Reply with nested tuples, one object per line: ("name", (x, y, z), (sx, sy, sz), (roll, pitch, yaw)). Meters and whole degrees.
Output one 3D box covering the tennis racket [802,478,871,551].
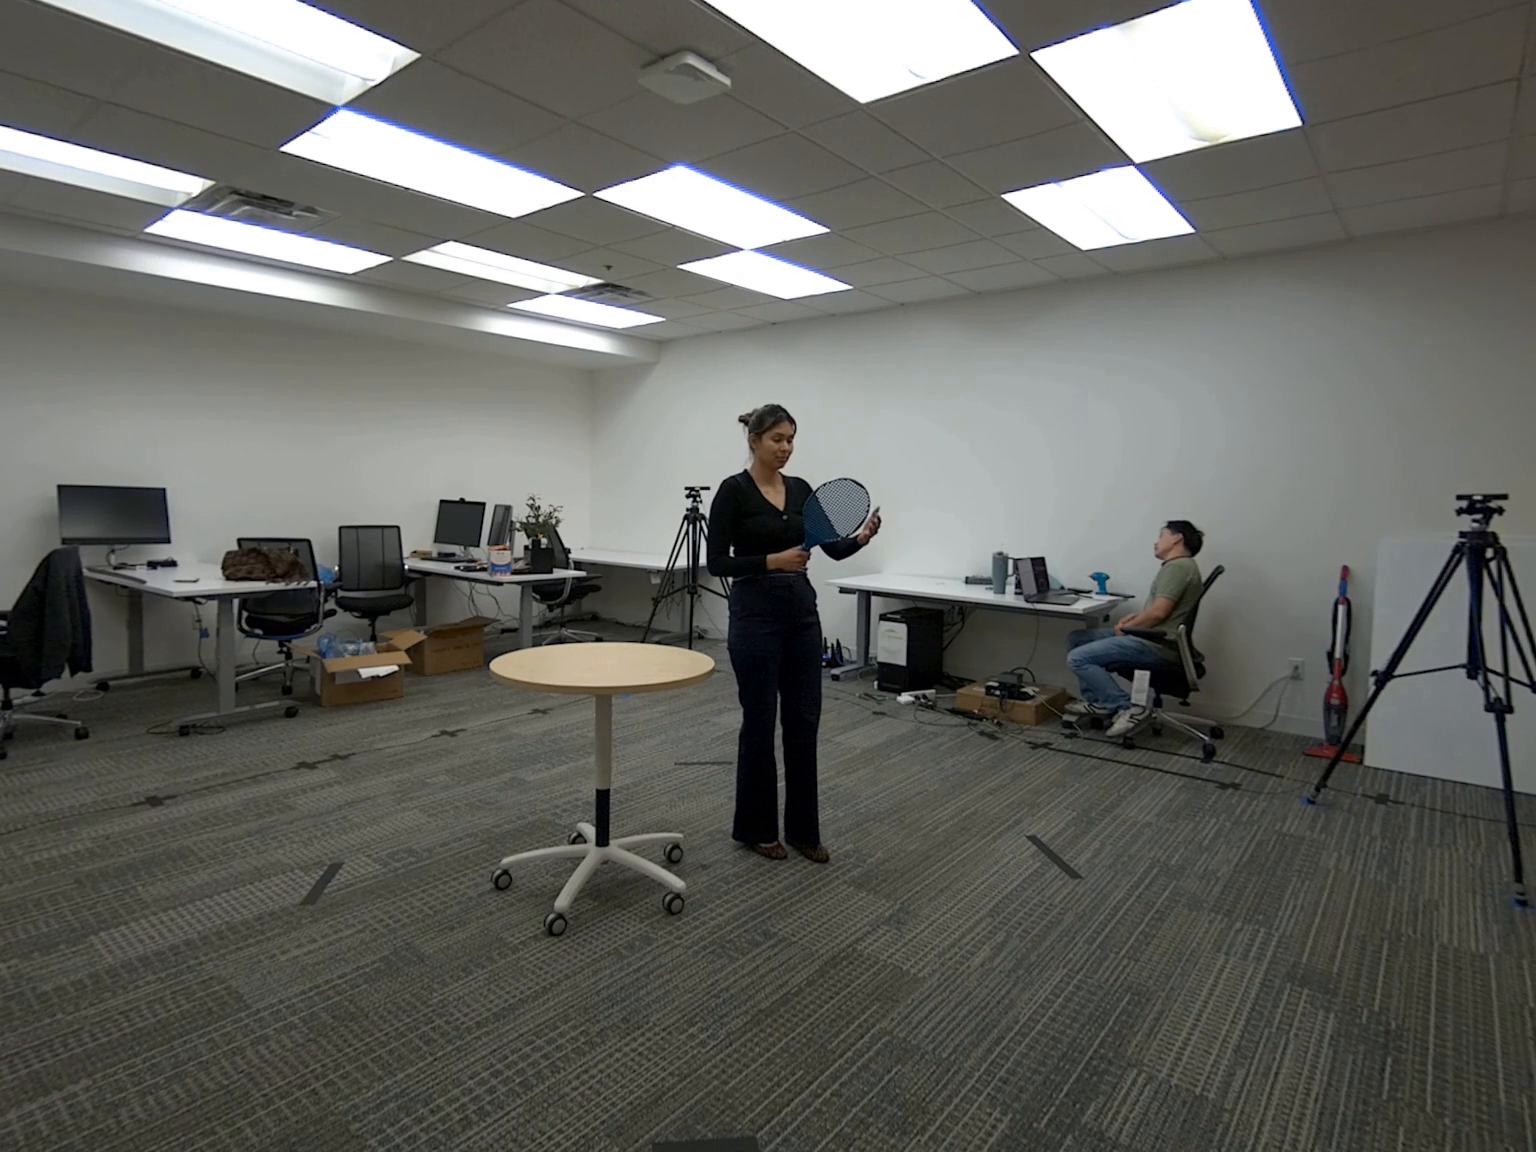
("tennis racket", (0.186, -0.180, 3.016), (0.210, 0.433, 0.032), (36, 30, -11))
